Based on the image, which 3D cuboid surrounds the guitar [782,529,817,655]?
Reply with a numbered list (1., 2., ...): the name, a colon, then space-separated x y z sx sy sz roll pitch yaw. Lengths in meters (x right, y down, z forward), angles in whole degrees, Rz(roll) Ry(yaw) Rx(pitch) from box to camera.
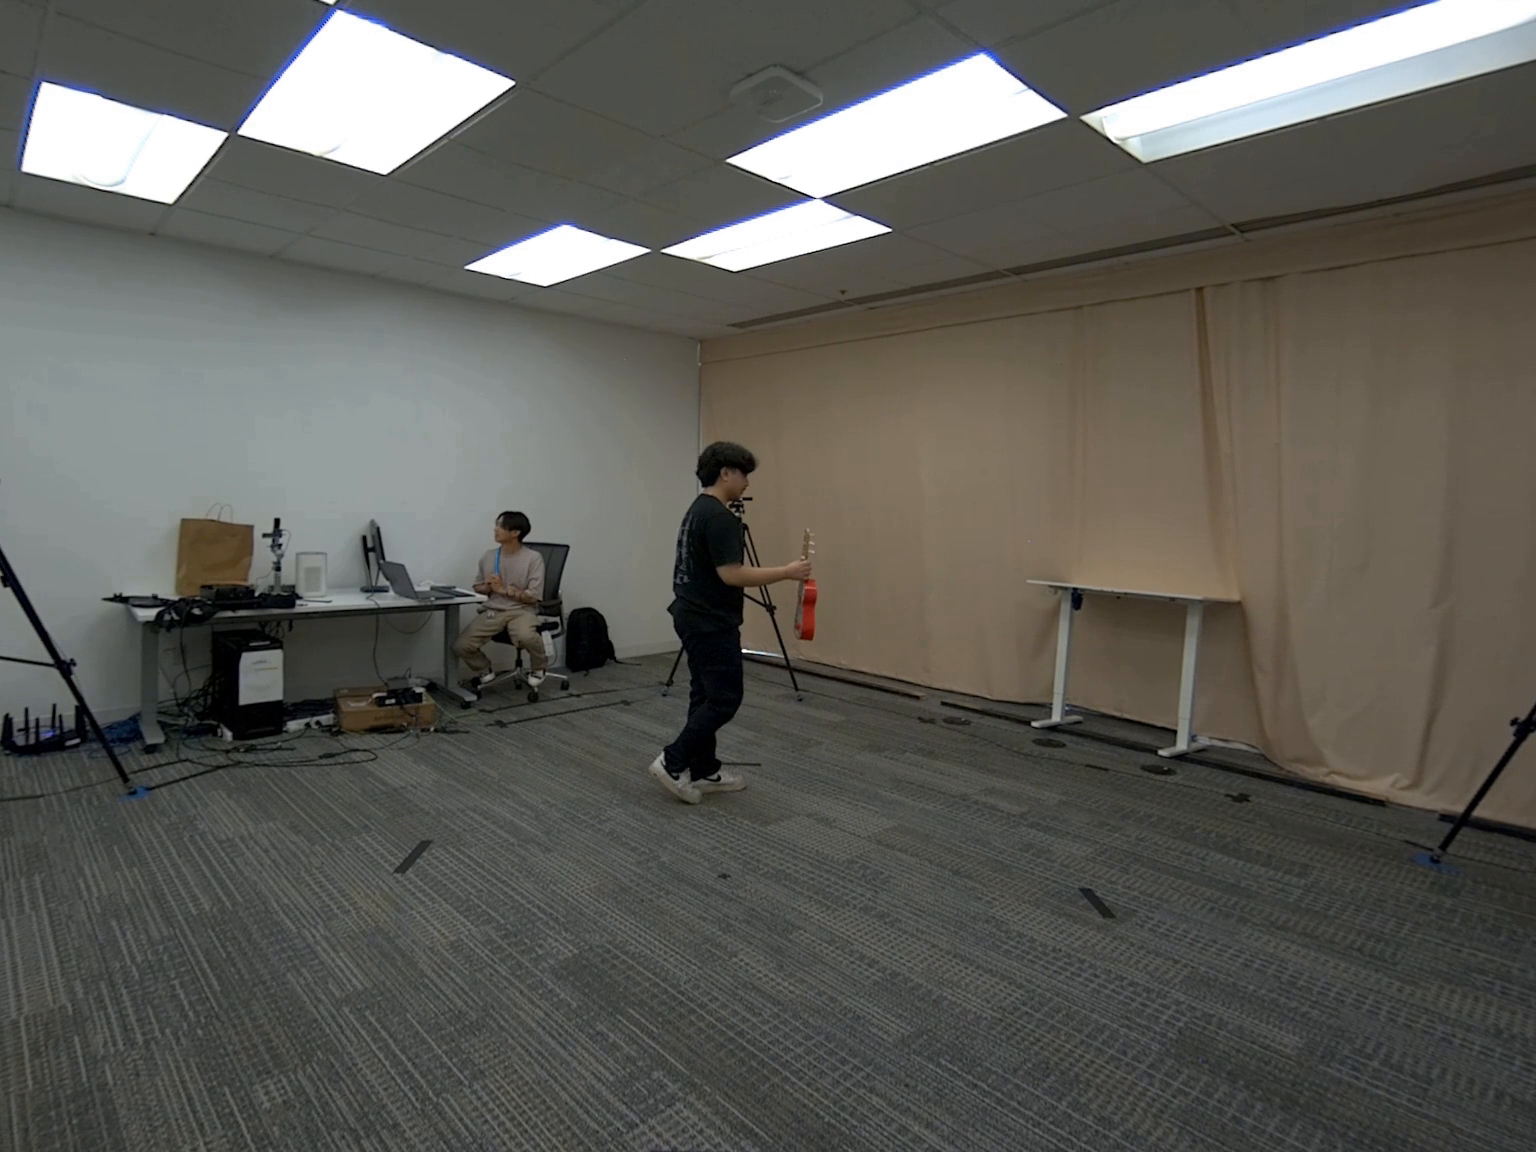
1. guitar: 0.167 0.044 3.771 0.070 0.494 0.196 5 13 -9
